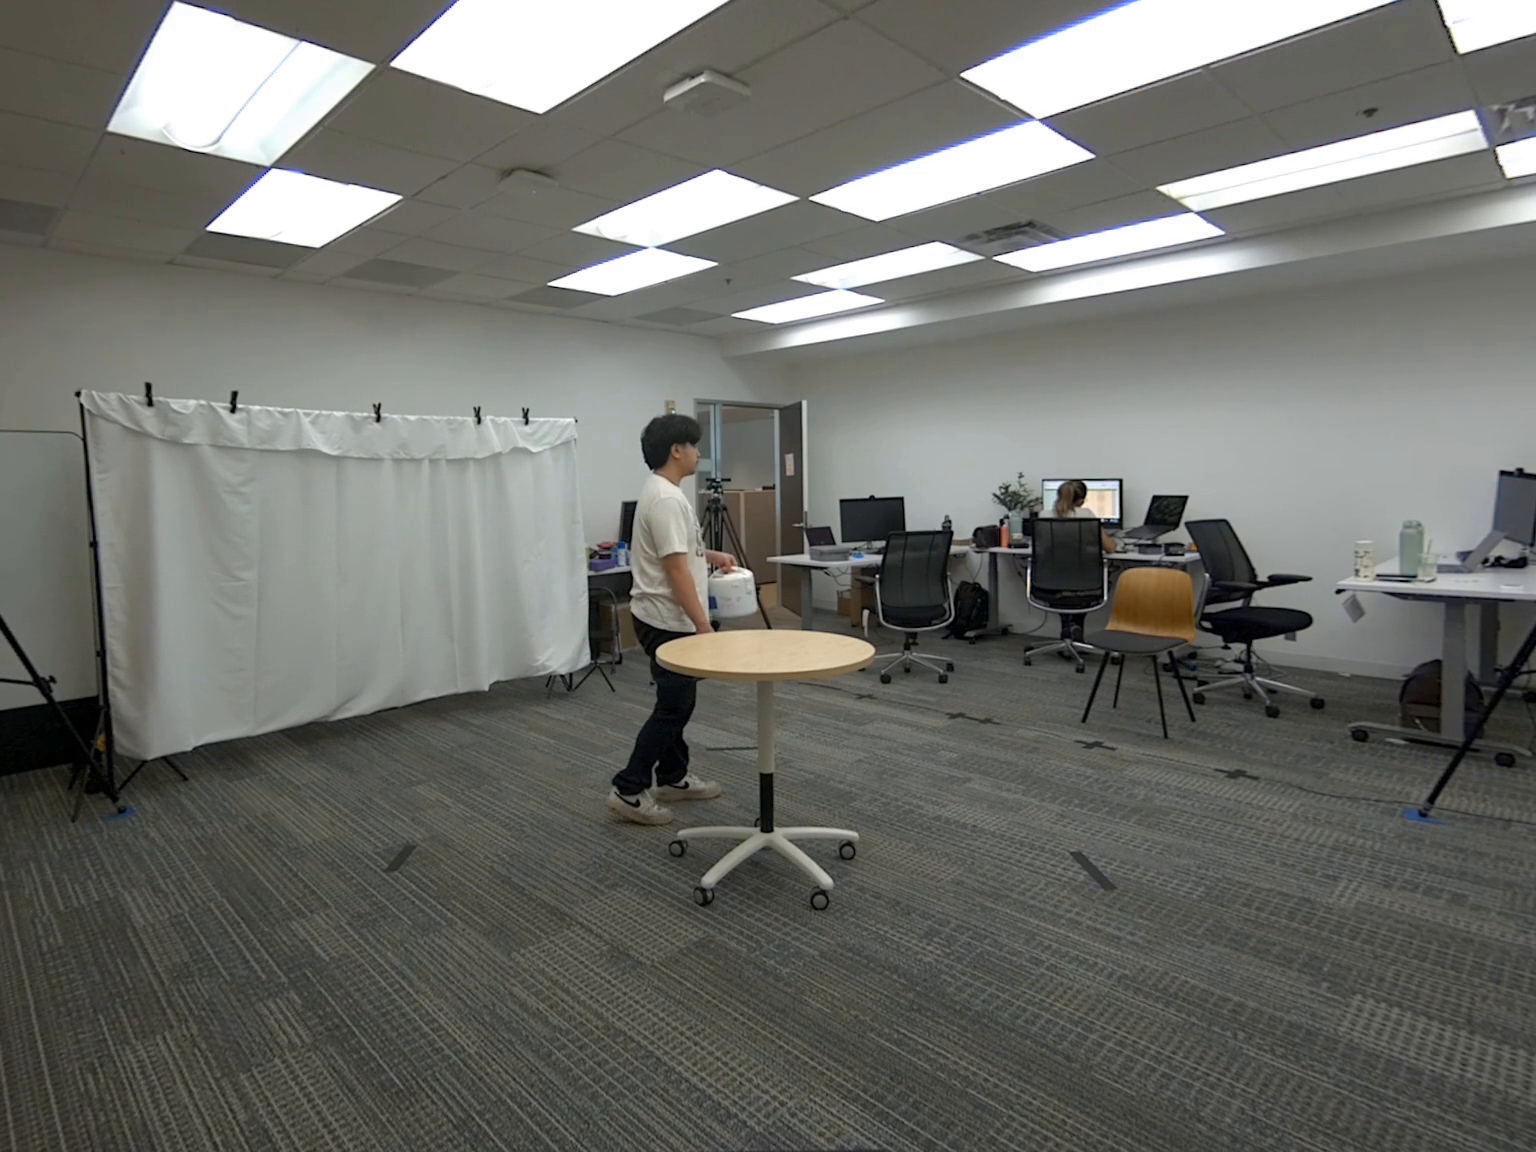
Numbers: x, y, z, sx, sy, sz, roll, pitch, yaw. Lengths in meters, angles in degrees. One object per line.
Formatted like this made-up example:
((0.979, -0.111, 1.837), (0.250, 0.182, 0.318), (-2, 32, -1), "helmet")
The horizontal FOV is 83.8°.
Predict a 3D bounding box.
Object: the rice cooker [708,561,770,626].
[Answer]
((-0.162, 0.070, 3.825), (0.227, 0.231, 0.213), (2, 12, 41), "rice cooker")
